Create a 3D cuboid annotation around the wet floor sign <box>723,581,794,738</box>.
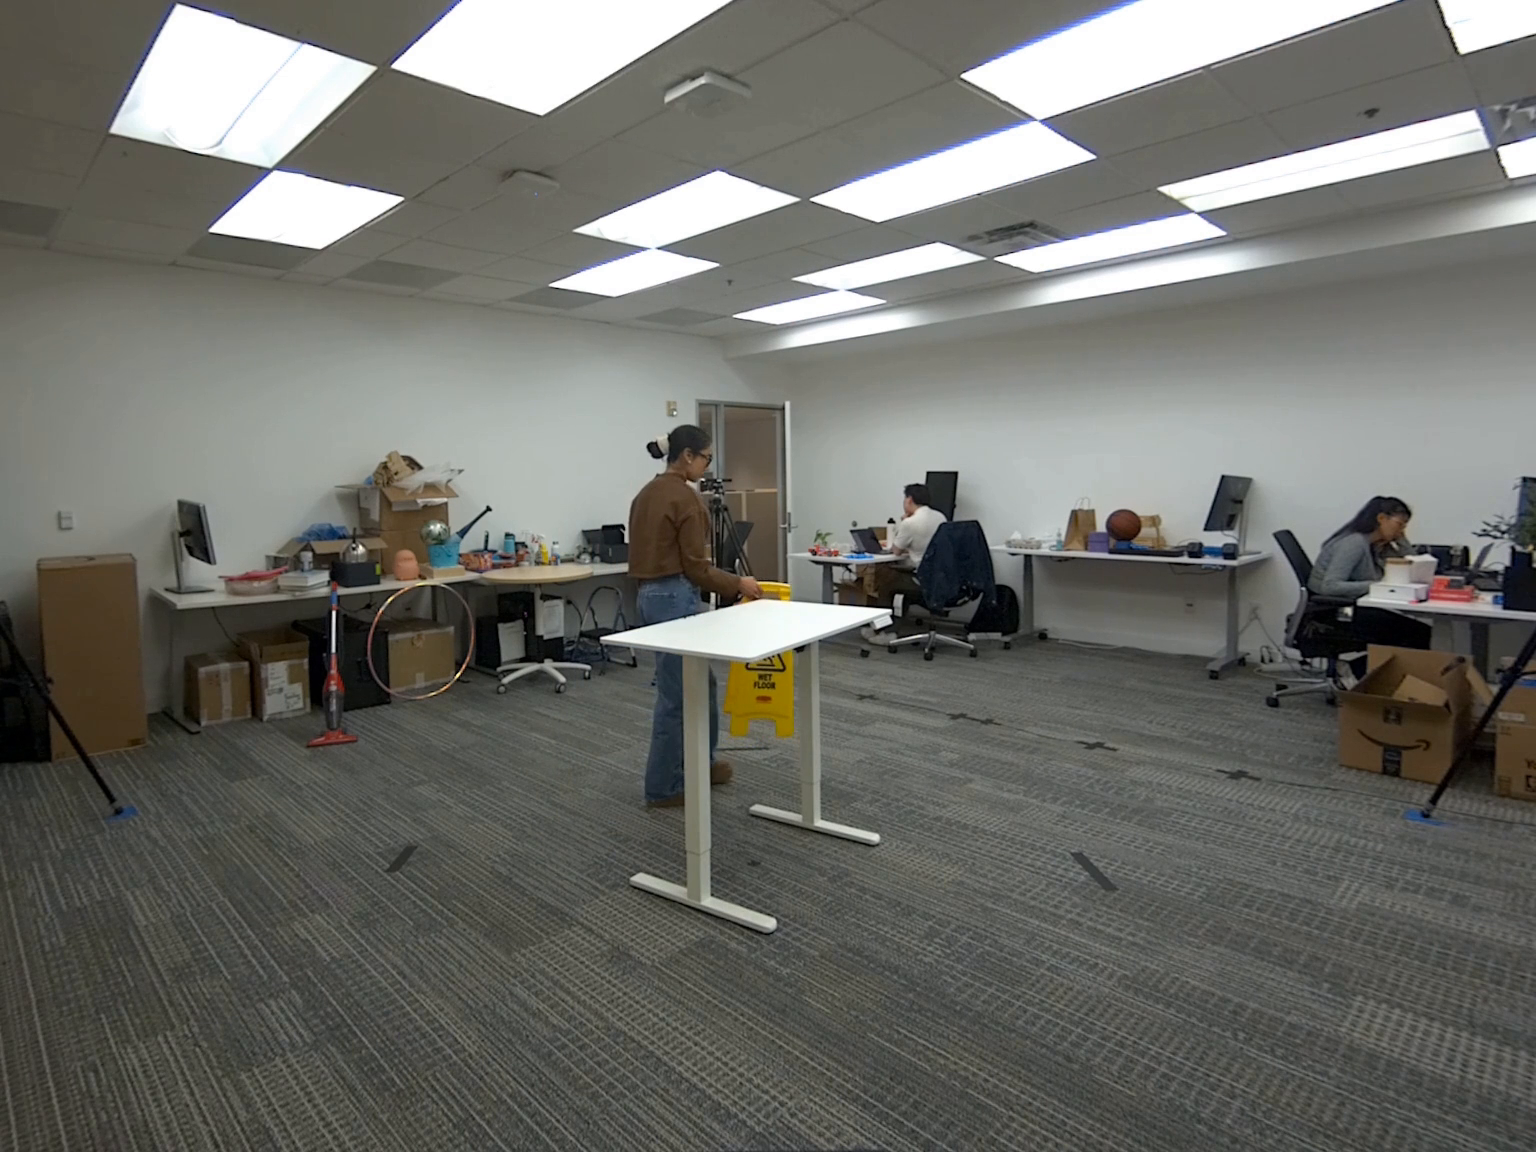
[{"bbox_3d":[-0.022,0.349,3.765,0.280,0.640,0.294,3,10,-8],"label":"wet floor sign"}]
